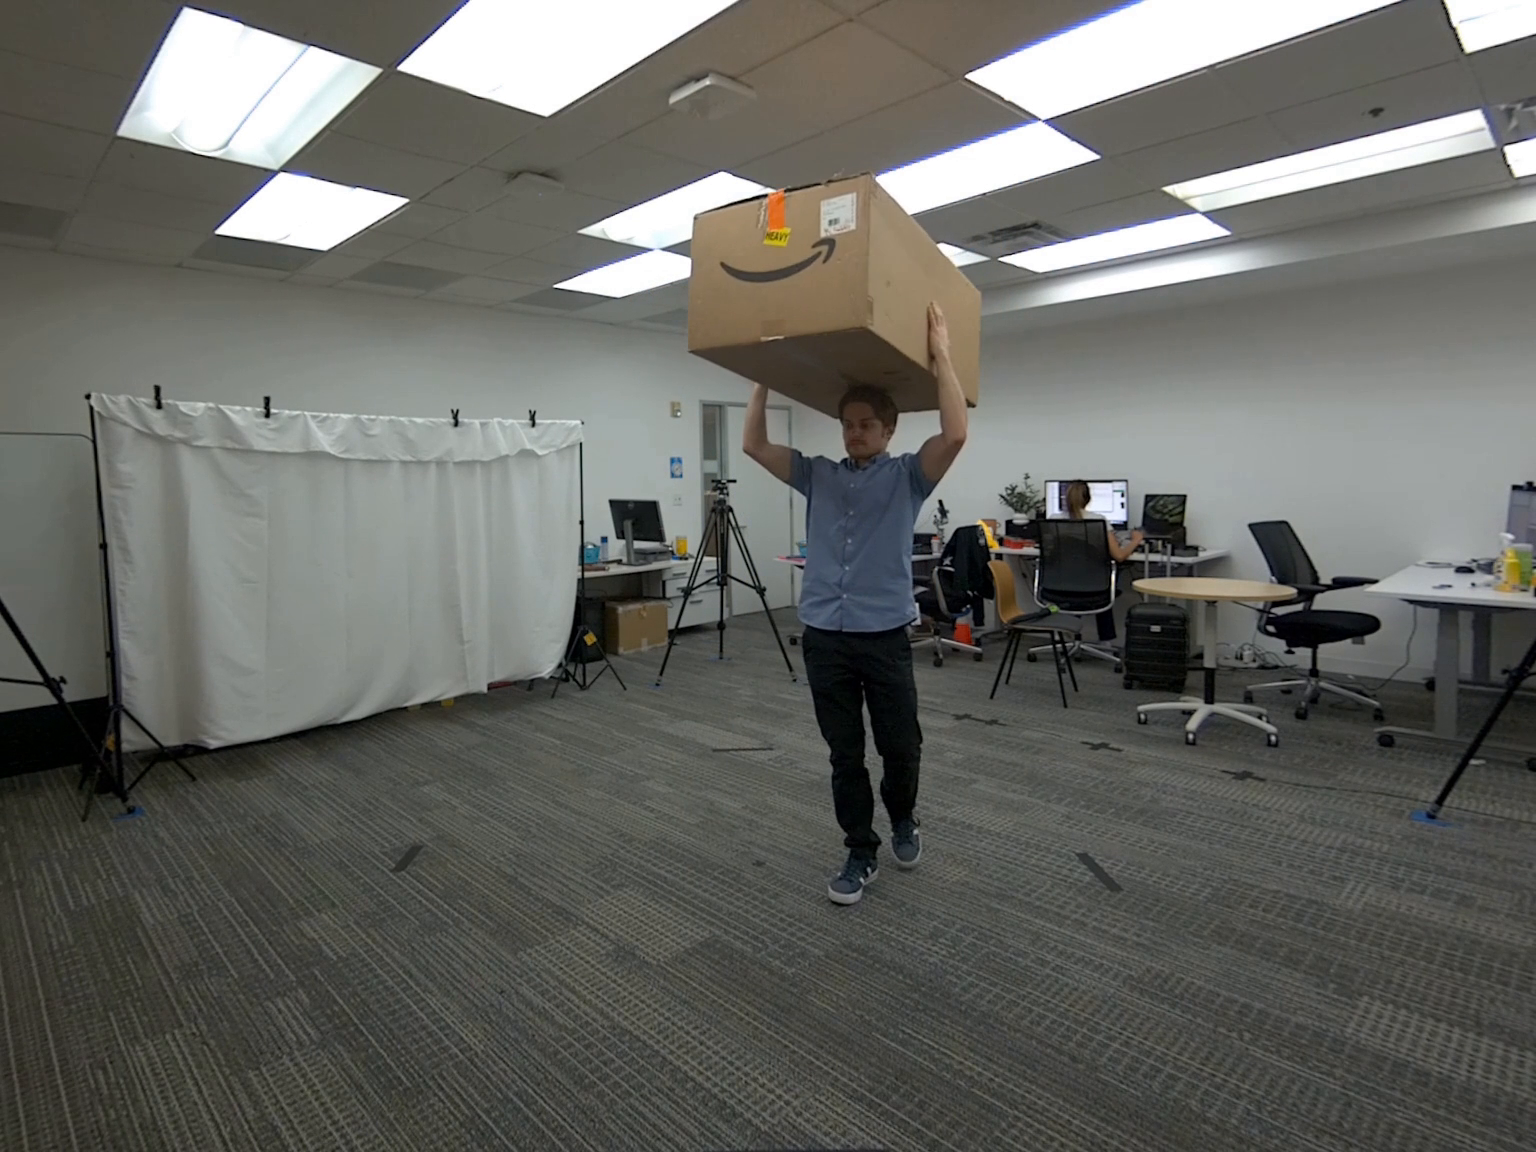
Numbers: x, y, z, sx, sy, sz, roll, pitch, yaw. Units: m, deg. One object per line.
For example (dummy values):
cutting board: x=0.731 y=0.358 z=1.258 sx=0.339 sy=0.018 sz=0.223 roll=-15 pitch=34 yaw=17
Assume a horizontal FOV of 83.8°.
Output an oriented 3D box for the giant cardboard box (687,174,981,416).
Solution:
giant cardboard box: x=0.266 y=-0.846 z=2.817 sx=0.593 sy=0.427 sz=0.997 roll=1 pitch=-1 yaw=31
